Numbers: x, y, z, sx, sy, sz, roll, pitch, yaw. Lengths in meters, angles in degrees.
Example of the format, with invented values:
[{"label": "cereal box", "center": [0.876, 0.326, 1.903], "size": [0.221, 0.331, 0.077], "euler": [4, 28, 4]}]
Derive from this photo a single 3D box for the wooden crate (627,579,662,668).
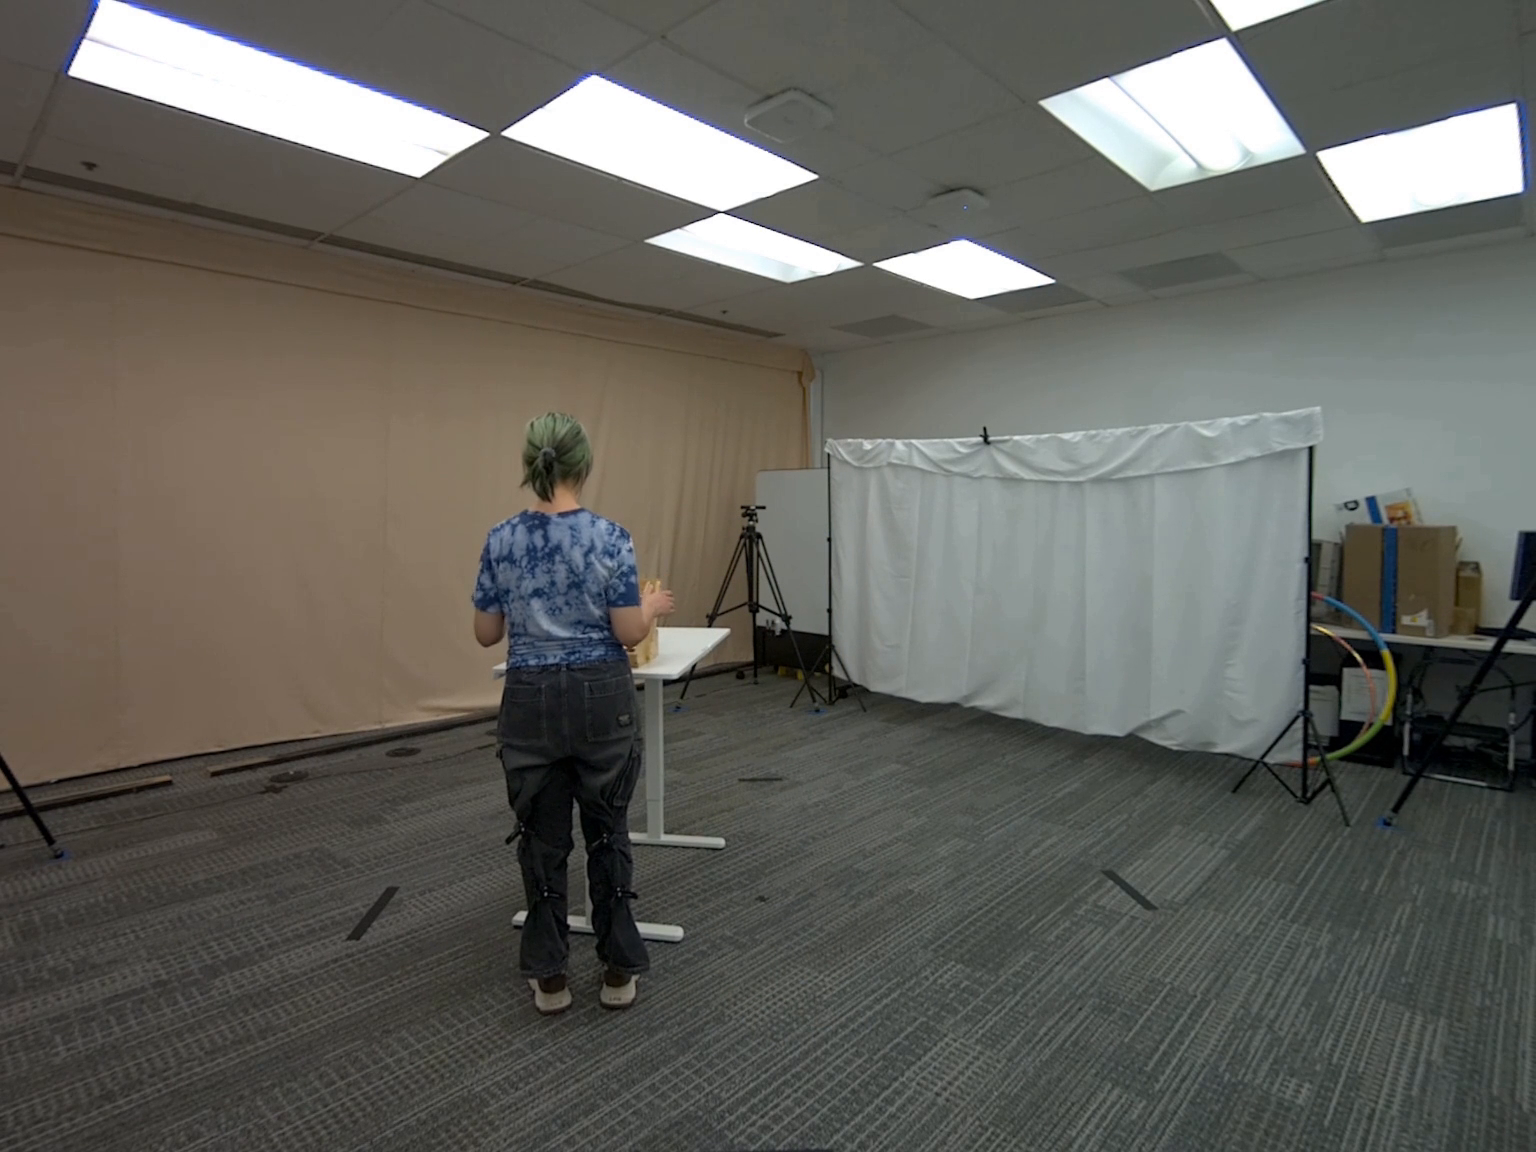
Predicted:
[{"label": "wooden crate", "center": [-0.539, 0.145, 2.794], "size": [0.328, 0.273, 0.299], "euler": [1, 2, 10]}]
